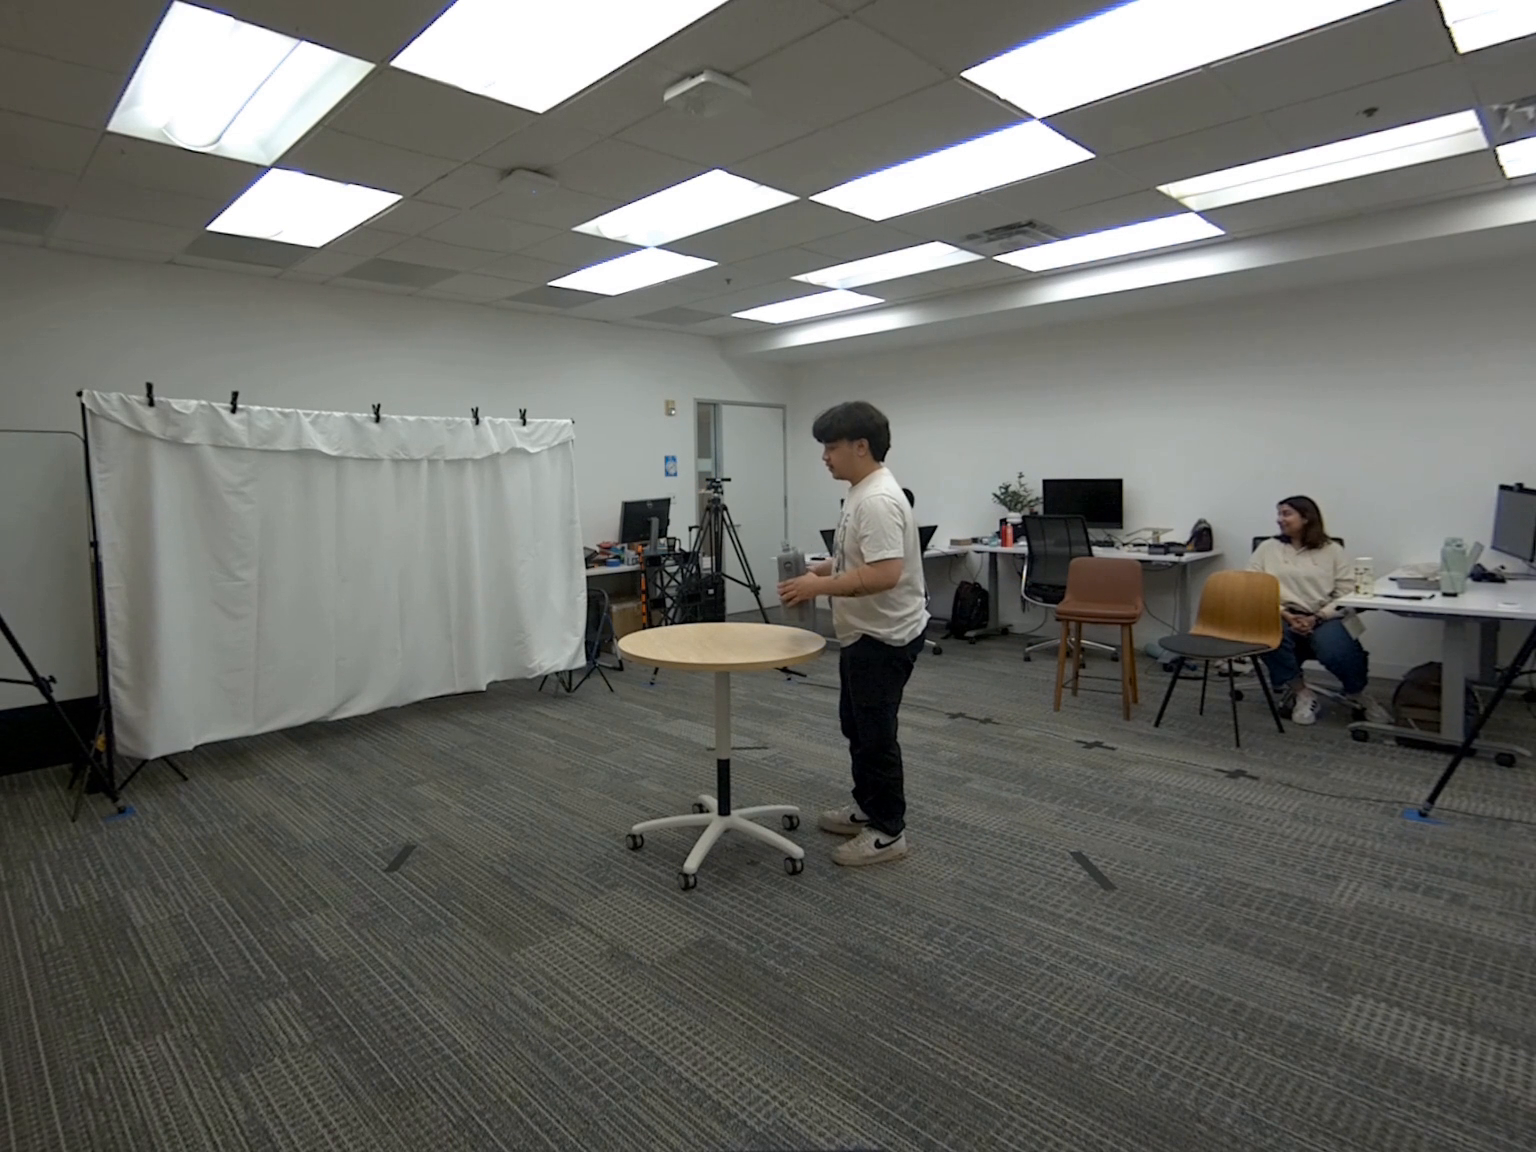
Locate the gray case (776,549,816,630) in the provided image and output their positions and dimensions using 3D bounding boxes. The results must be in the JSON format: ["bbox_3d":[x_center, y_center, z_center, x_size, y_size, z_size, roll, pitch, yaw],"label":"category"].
[{"bbox_3d":[0.091,0.024,3.140,0.105,0.261,0.256,-4,0,2],"label":"gray case"}]
